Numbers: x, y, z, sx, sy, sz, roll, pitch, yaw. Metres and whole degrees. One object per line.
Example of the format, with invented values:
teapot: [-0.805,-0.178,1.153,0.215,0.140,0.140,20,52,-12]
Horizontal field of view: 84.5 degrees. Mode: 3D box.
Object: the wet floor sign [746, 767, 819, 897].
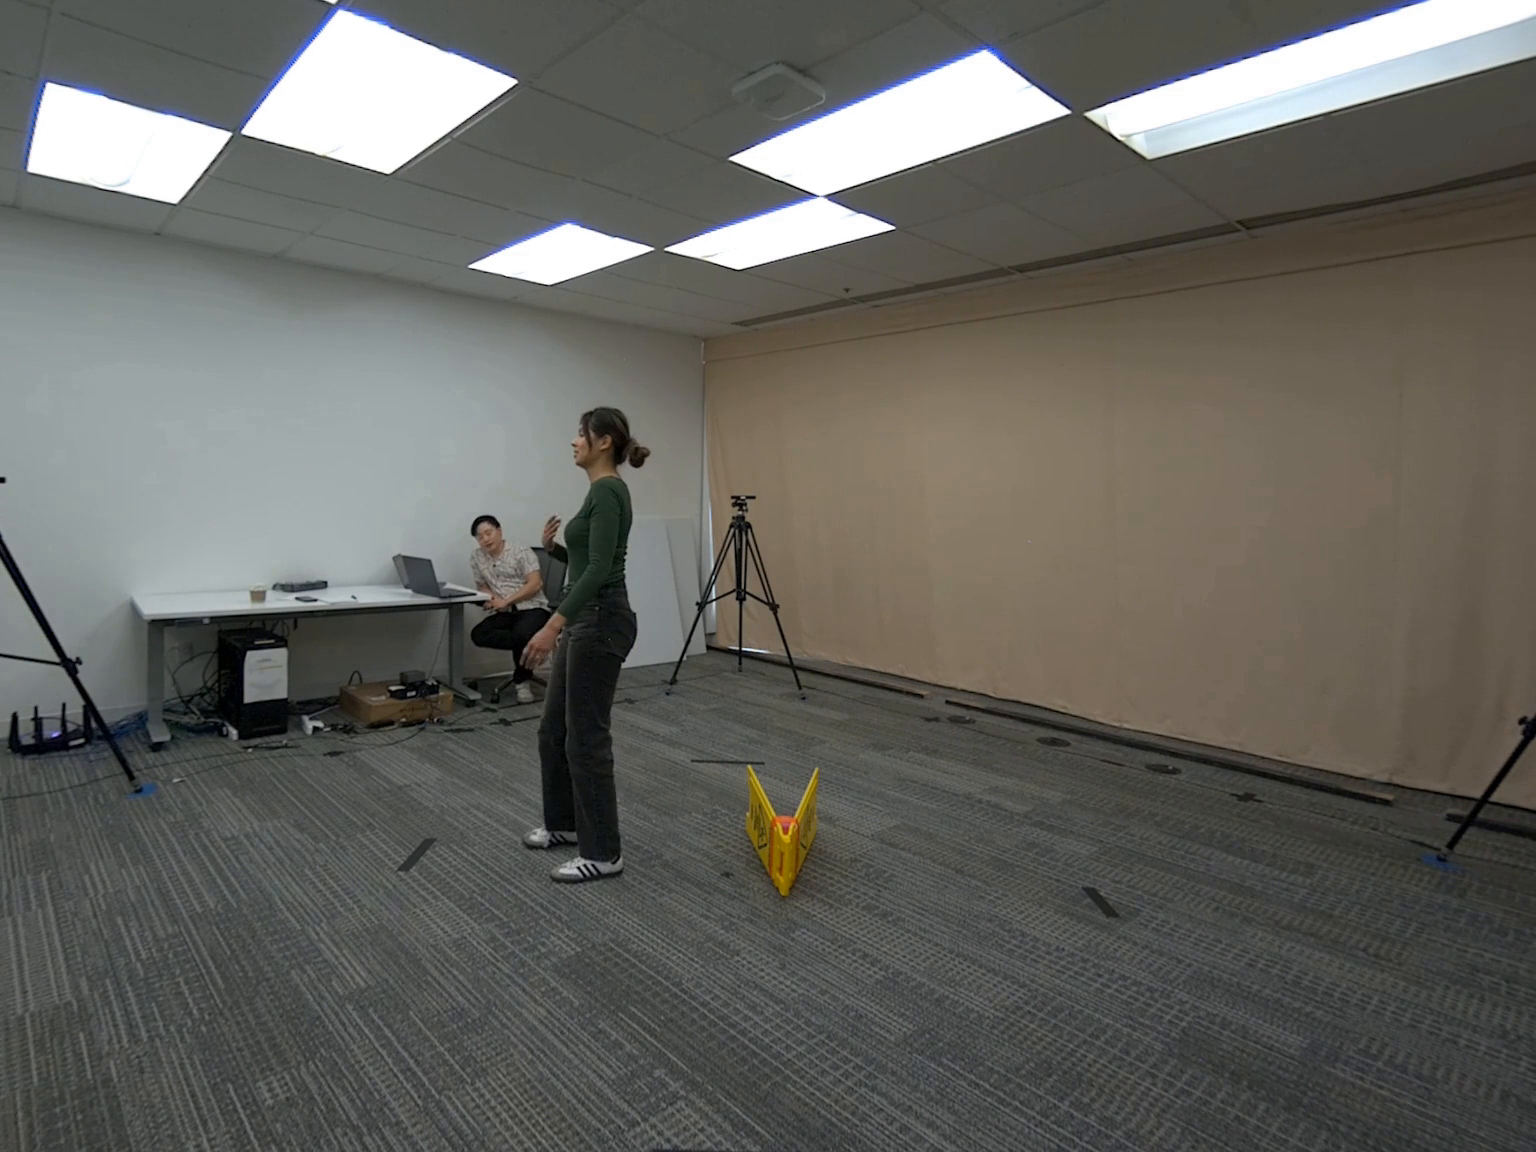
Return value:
wet floor sign: [0.053,0.965,3.196,0.290,0.281,0.649,2,7,-1]
